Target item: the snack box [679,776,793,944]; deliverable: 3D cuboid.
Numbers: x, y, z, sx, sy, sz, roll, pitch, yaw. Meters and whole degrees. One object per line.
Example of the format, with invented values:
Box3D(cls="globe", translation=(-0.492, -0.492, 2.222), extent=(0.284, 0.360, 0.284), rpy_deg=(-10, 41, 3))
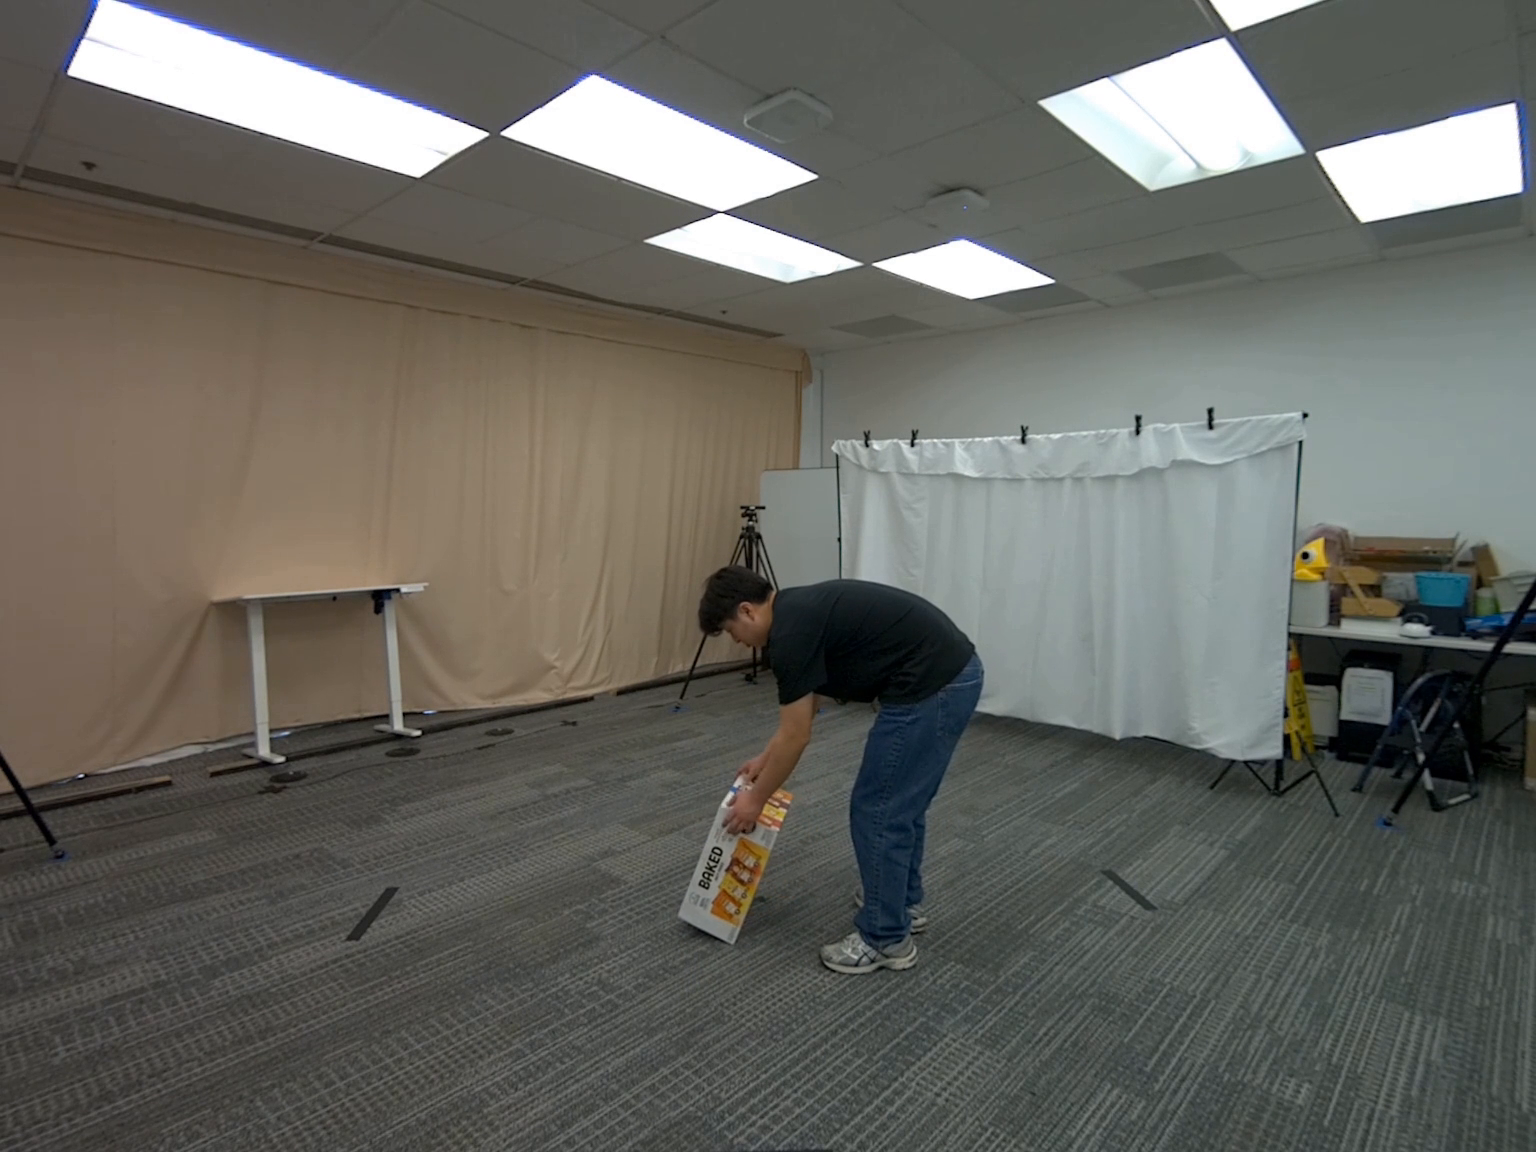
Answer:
Box3D(cls="snack box", translation=(-0.099, 0.937, 2.831), extent=(0.208, 0.404, 0.337), rpy_deg=(21, 7, 8))
